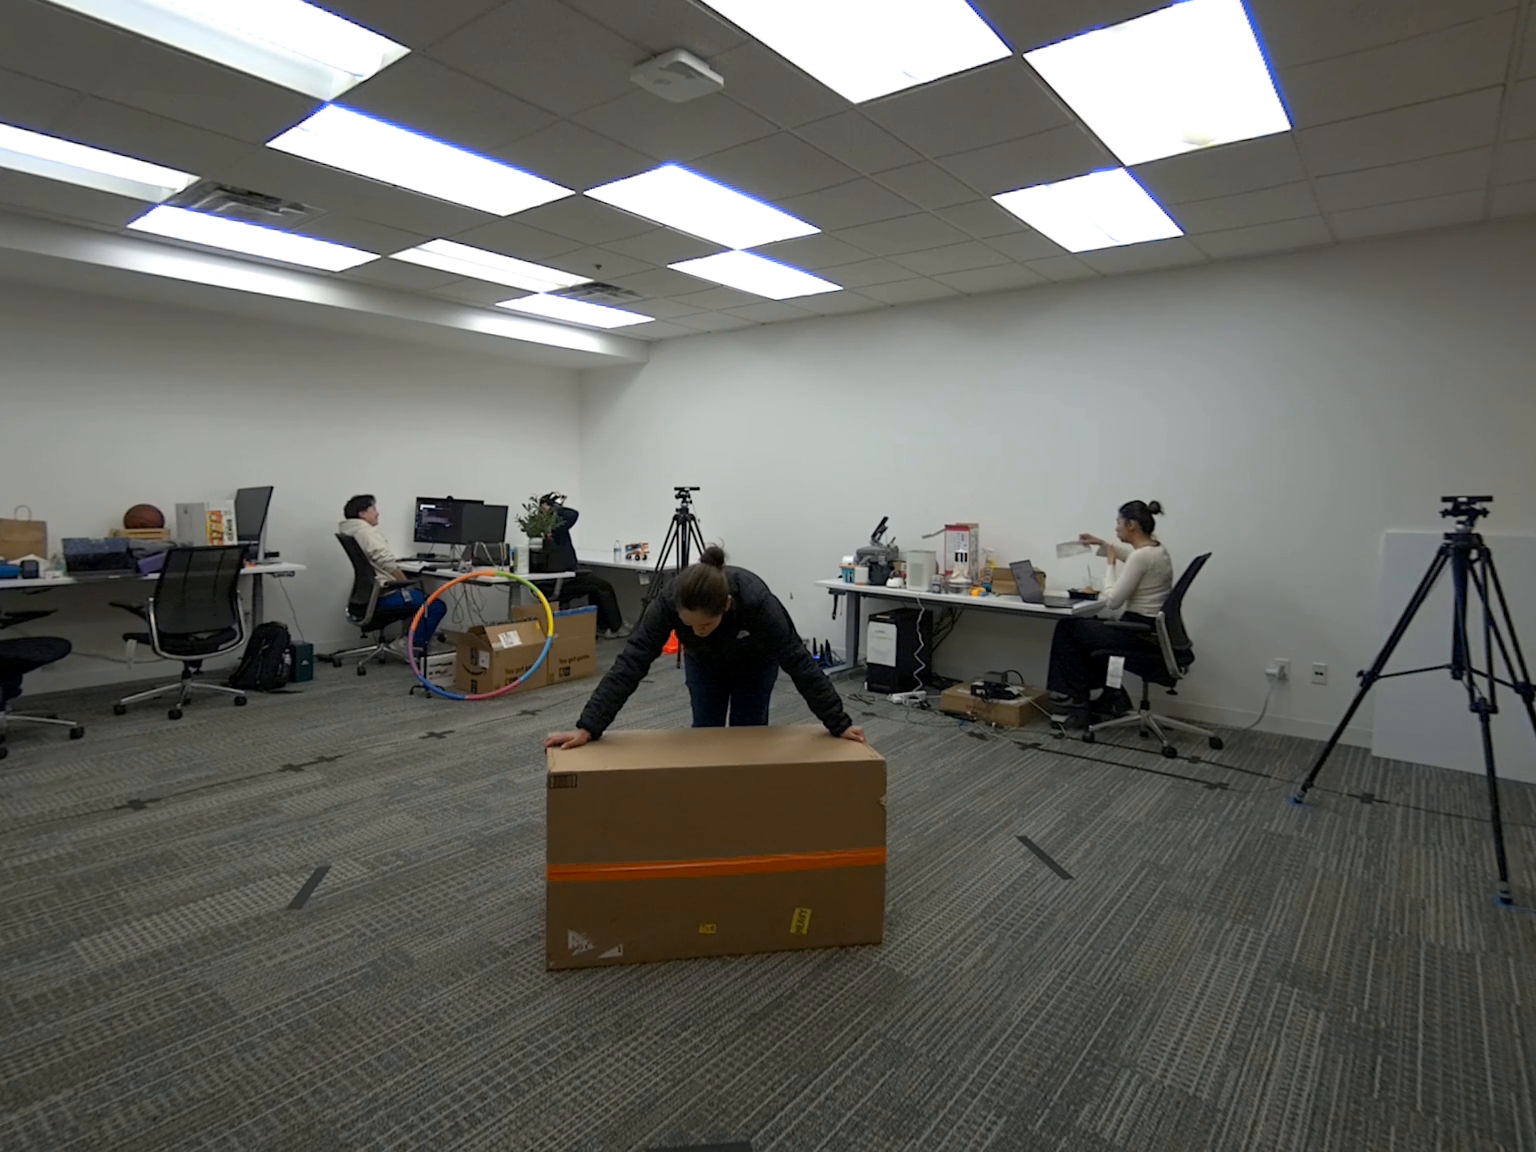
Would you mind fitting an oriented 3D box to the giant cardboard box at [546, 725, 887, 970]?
[{"bbox_3d":[-0.176,0.819,2.717,1.016,0.583,0.452,0,2,-10],"label":"giant cardboard box"}]
